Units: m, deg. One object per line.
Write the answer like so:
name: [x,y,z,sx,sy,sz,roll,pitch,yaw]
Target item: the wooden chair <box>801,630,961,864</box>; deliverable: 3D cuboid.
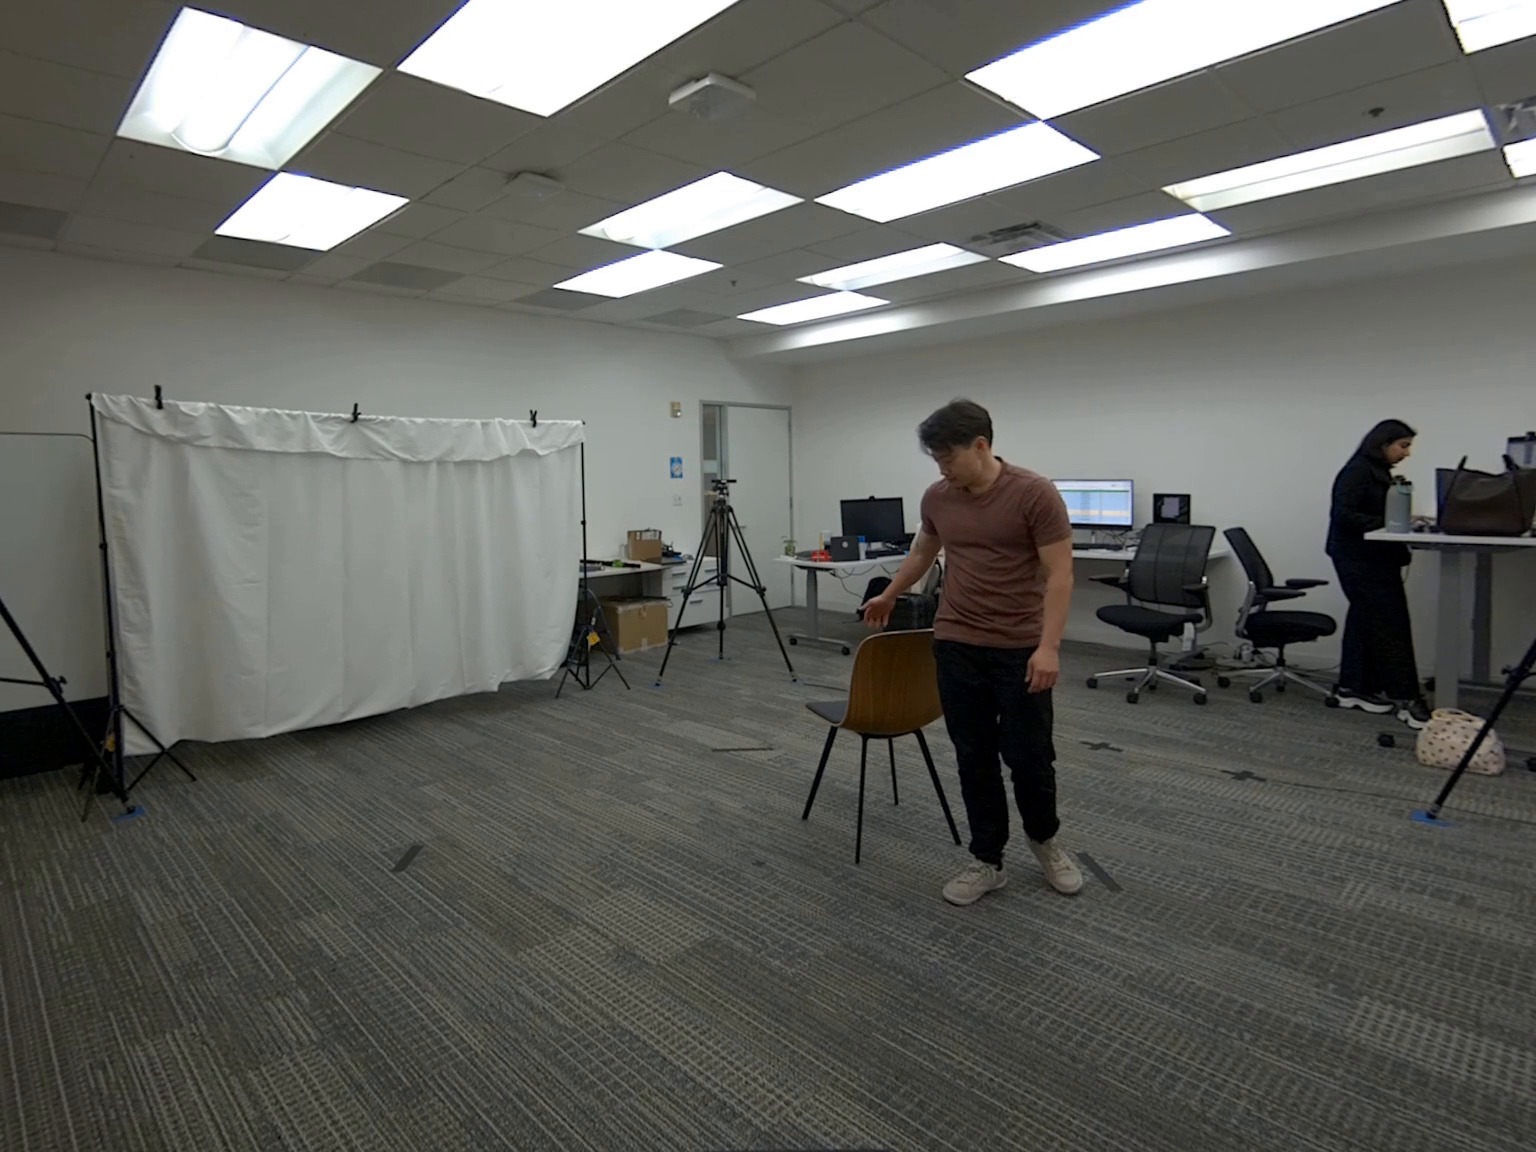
wooden chair: [0.422,0.585,3.353,0.469,0.871,0.537,-3,8,-22]
